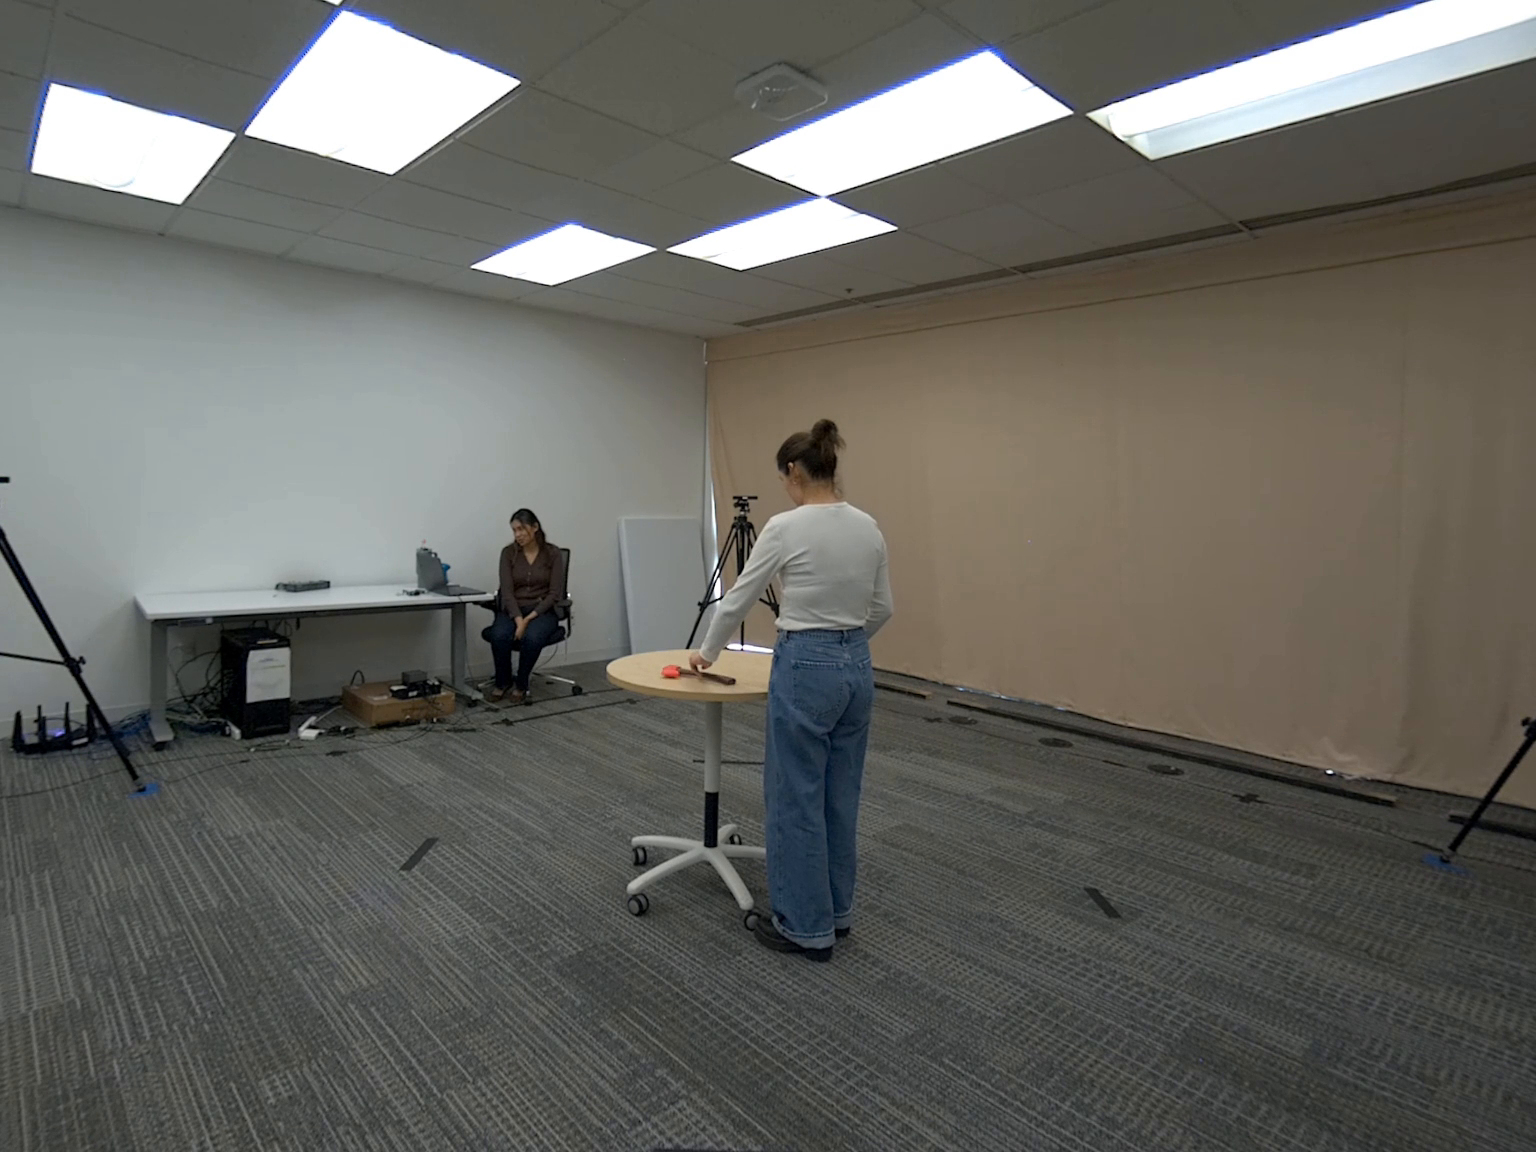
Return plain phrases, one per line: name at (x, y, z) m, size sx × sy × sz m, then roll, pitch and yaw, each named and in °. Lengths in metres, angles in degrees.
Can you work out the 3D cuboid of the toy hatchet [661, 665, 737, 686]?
toy hatchet at (-0.242, 0.332, 2.784) m, size 0.277 × 0.029 × 0.128 m, roll 6°, pitch 5°, yaw 40°
